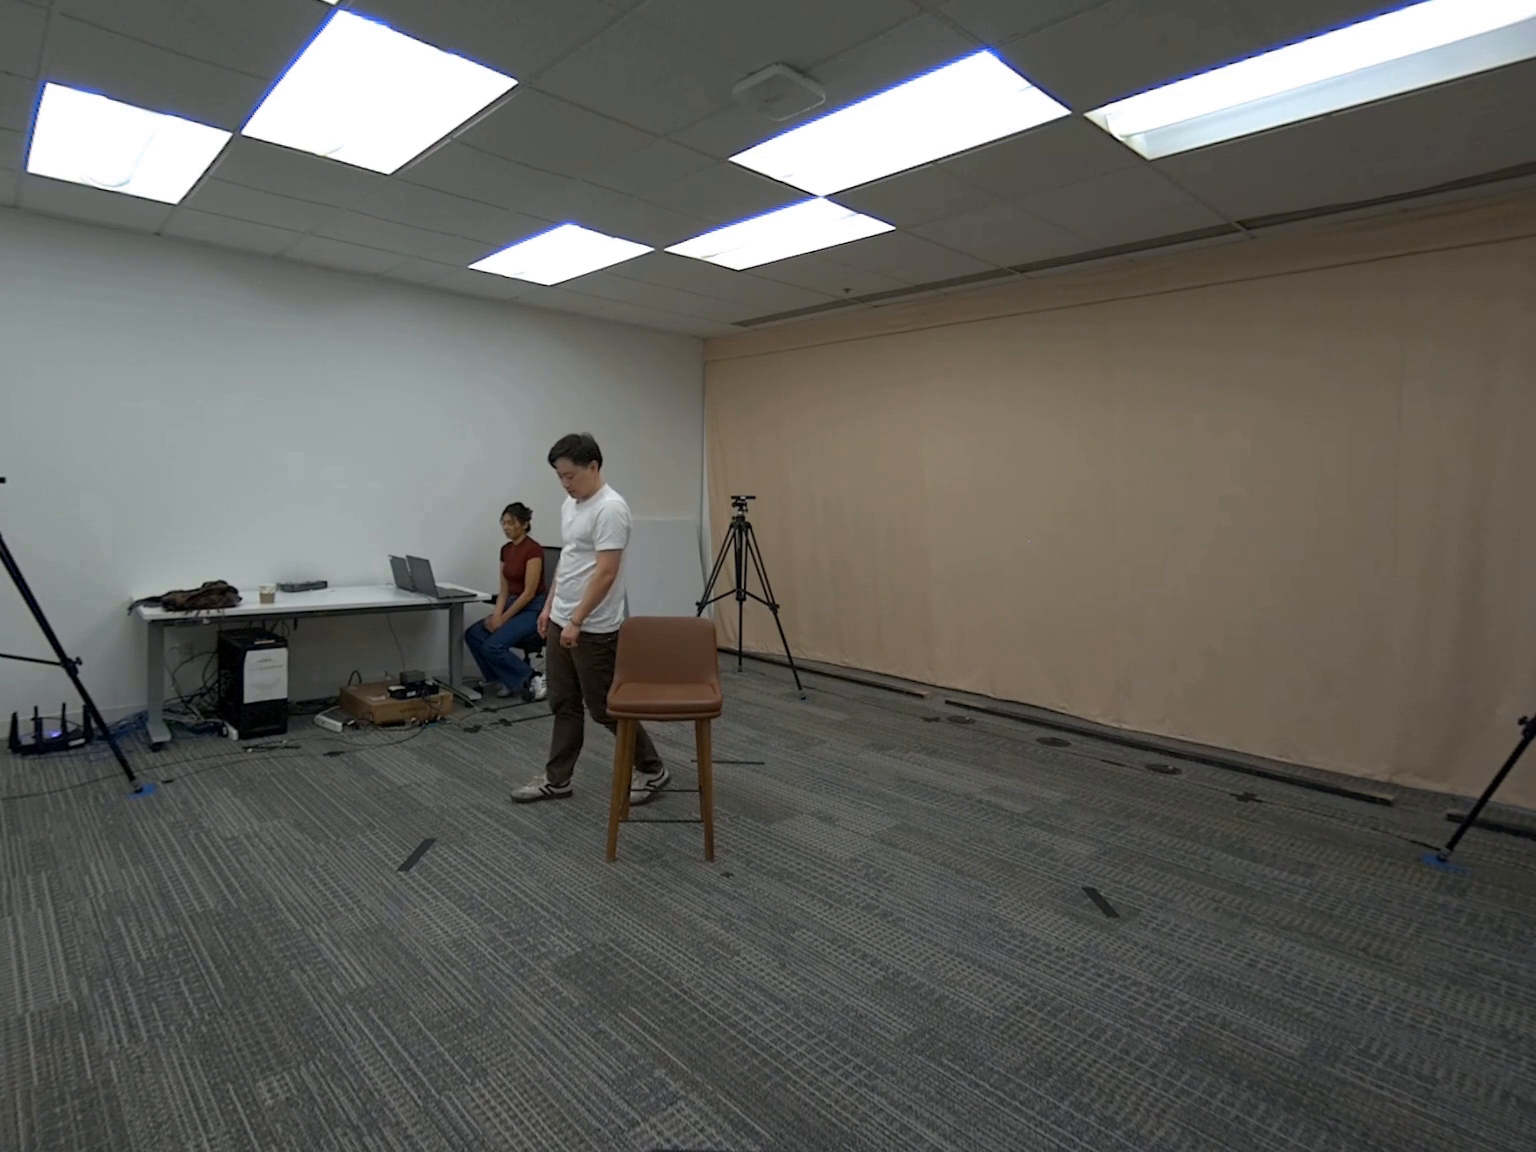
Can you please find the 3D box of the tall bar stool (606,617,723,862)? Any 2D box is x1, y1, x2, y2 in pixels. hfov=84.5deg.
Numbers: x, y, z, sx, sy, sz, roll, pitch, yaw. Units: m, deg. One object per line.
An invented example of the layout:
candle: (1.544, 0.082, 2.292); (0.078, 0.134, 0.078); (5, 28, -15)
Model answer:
tall bar stool: (-0.422, 0.635, 3.402); (0.455, 0.889, 0.469); (1, 1, -4)
